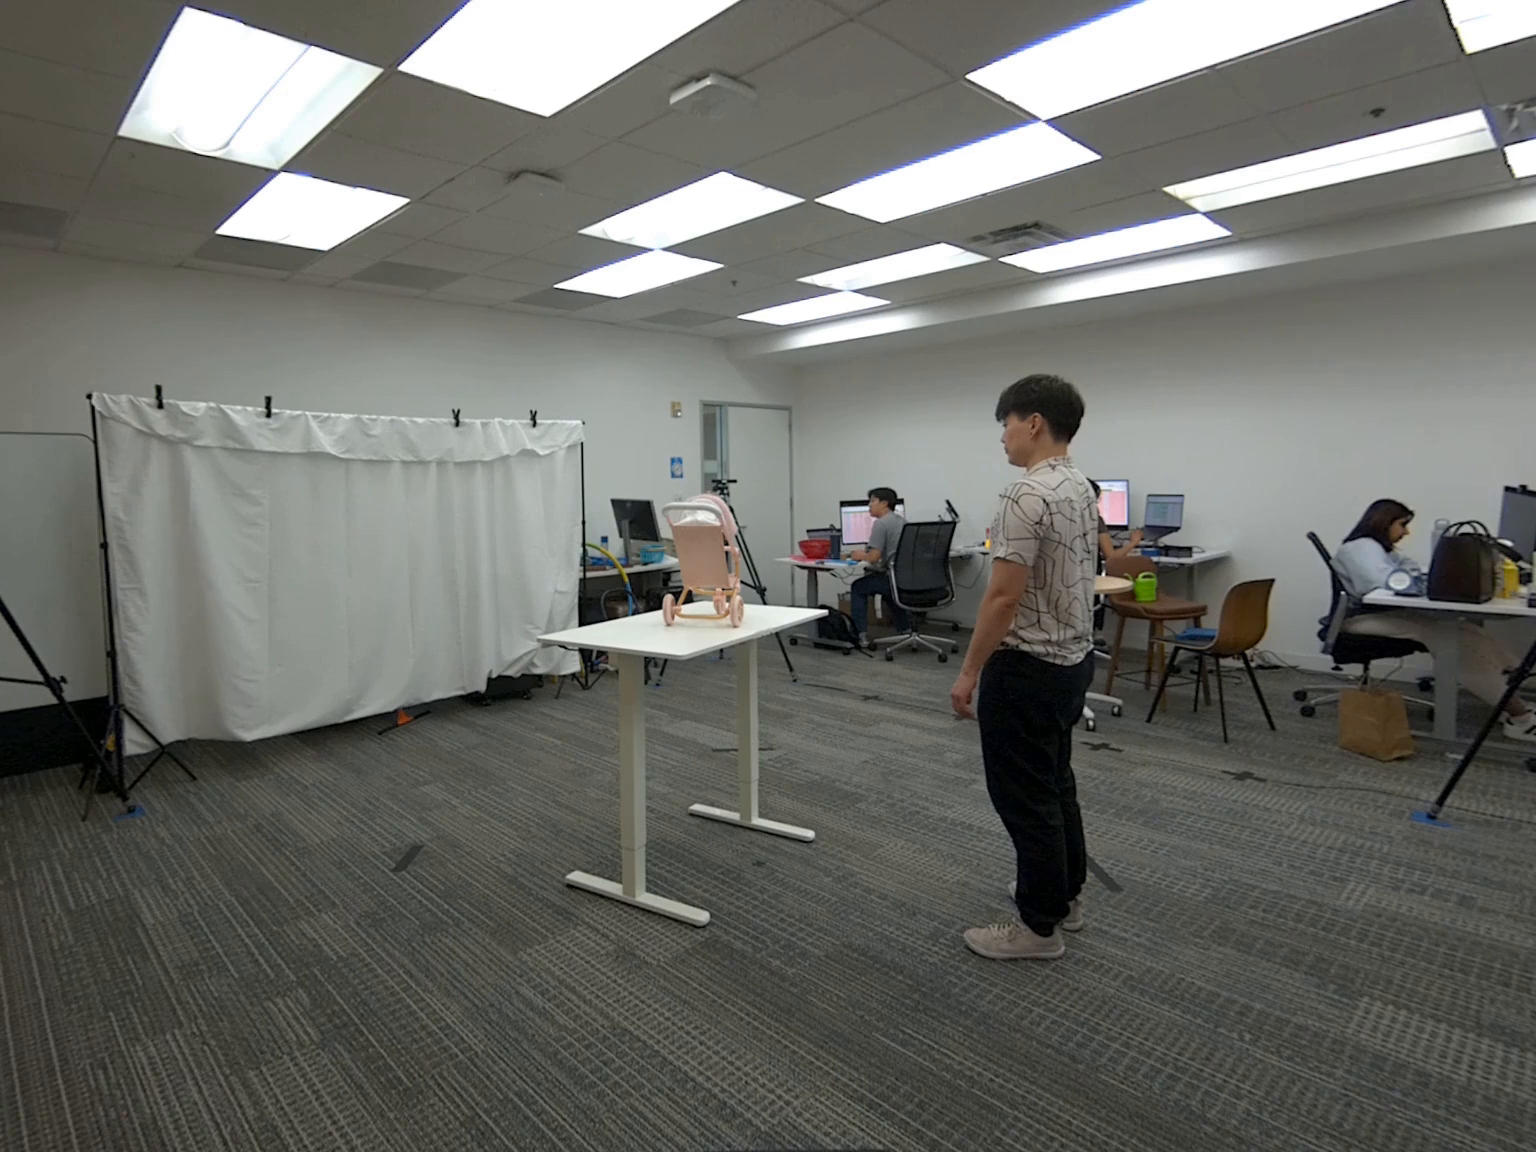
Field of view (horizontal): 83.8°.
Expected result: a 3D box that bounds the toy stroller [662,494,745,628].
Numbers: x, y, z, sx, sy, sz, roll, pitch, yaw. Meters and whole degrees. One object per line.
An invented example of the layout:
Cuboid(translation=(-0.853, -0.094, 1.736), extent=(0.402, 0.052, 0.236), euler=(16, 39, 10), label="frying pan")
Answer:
Cuboid(translation=(-0.221, -0.053, 3.088), extent=(0.286, 0.526, 0.342), euler=(1, 19, 16), label="toy stroller")
